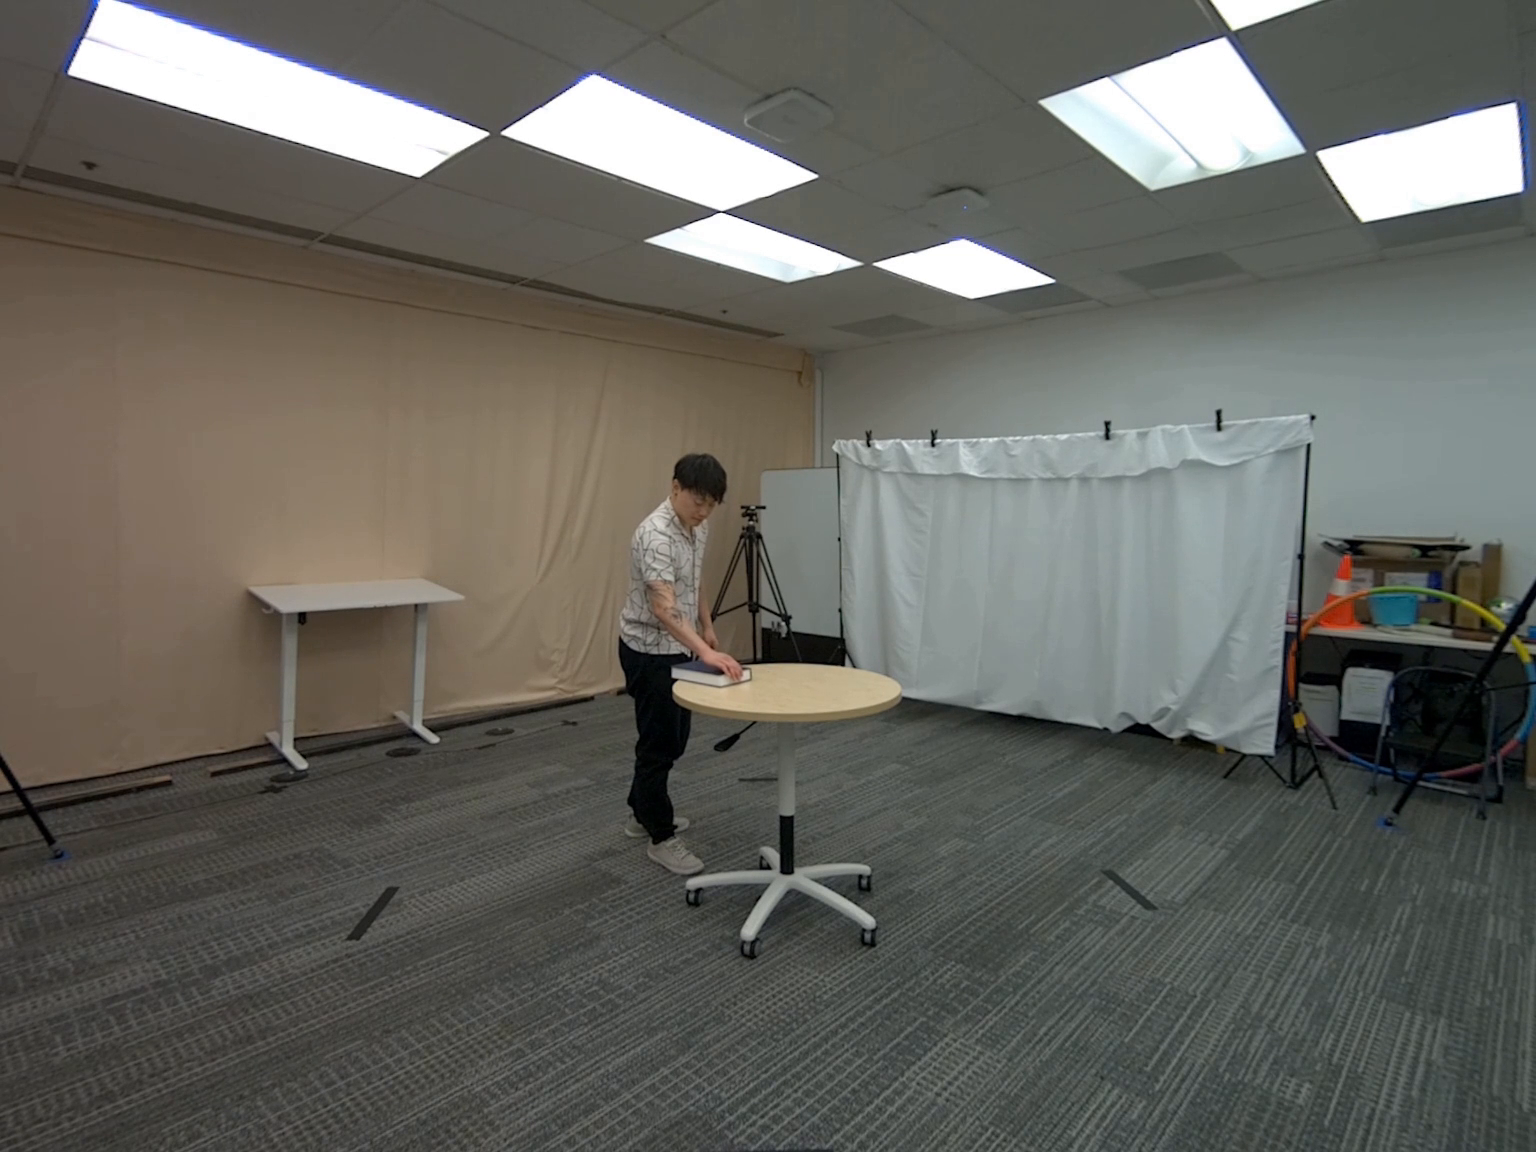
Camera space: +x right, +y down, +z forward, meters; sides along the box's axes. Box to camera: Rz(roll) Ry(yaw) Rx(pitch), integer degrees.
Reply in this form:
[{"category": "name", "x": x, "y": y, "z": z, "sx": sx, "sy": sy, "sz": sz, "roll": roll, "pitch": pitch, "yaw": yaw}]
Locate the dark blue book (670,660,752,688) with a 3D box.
[{"category": "dark blue book", "x": -0.202, "y": 0.343, "z": 2.959, "sx": 0.253, "sy": 0.045, "sz": 0.158, "roll": 4, "pitch": 7, "yaw": 41}]
